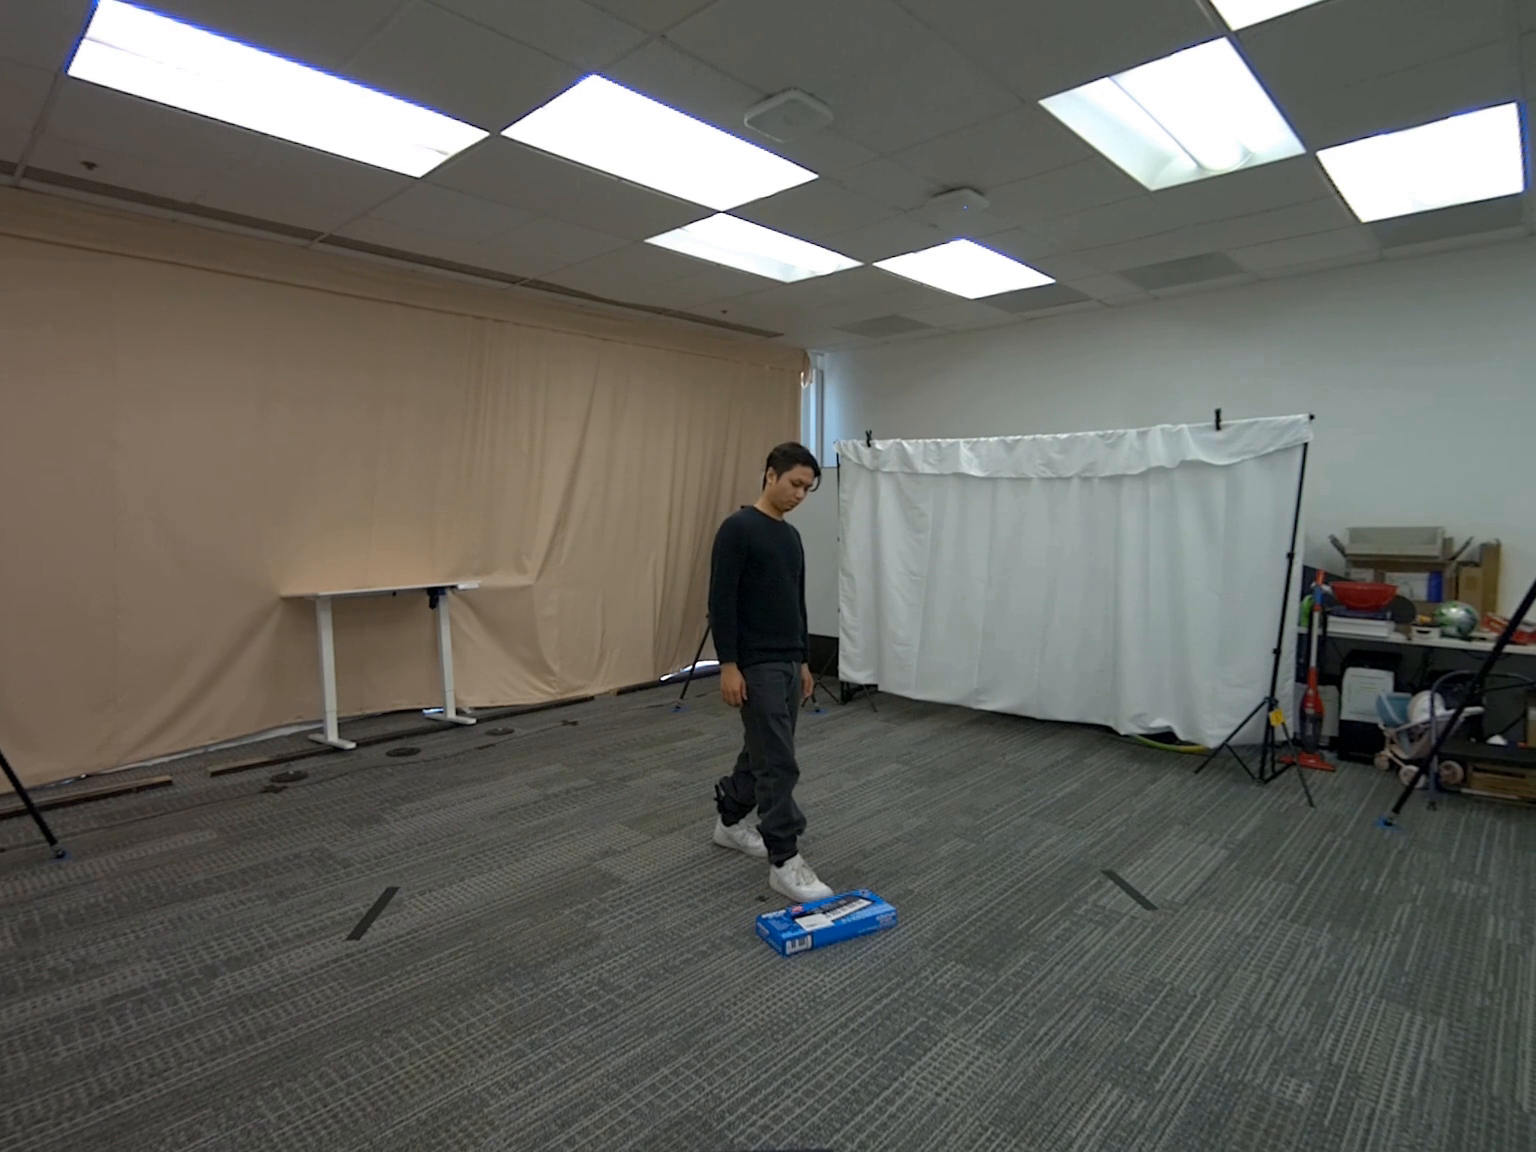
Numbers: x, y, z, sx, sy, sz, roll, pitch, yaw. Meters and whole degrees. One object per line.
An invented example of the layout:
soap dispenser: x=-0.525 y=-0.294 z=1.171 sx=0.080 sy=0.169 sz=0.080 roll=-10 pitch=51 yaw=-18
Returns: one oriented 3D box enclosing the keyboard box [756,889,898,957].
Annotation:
keyboard box: x=0.201 y=1.134 z=2.758 sx=0.426 sy=0.059 sz=0.181 roll=-3 pitch=6 yaw=-27
